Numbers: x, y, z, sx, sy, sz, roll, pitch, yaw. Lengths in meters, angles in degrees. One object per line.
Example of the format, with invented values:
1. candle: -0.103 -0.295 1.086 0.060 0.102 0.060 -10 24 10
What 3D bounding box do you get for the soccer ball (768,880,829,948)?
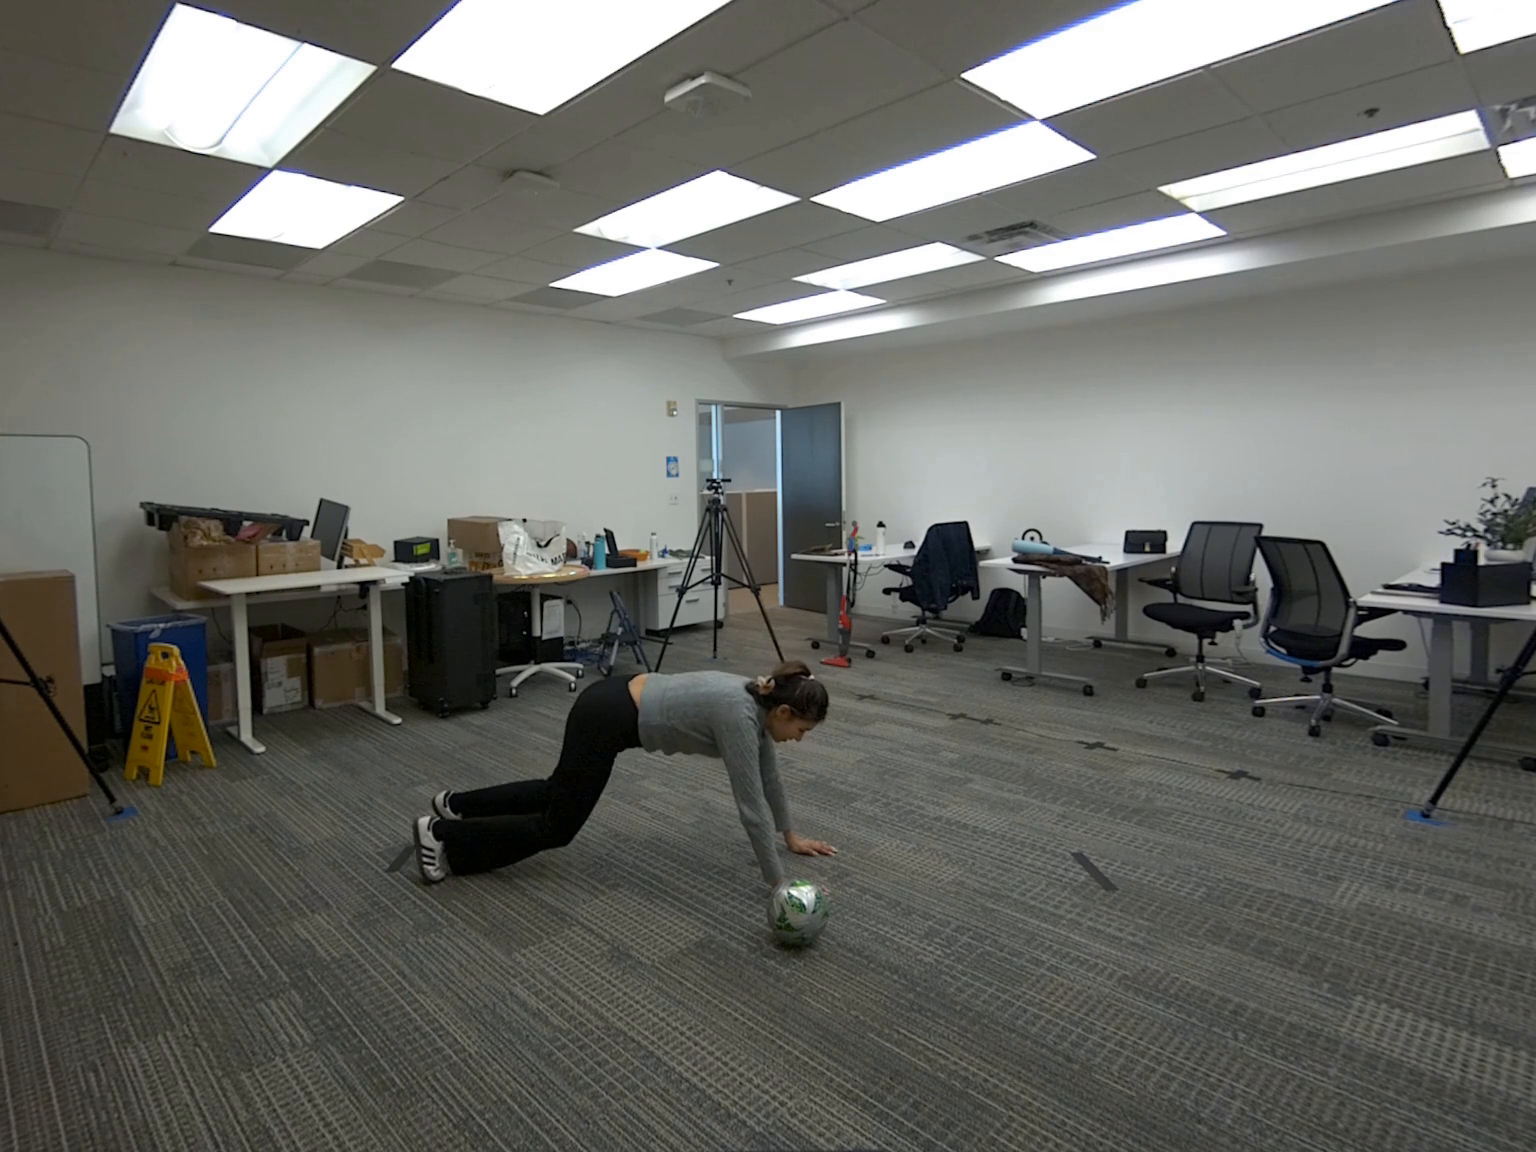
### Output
1. soccer ball: 0.092 1.011 2.579 0.187 0.187 0.188 -1 5 -2
